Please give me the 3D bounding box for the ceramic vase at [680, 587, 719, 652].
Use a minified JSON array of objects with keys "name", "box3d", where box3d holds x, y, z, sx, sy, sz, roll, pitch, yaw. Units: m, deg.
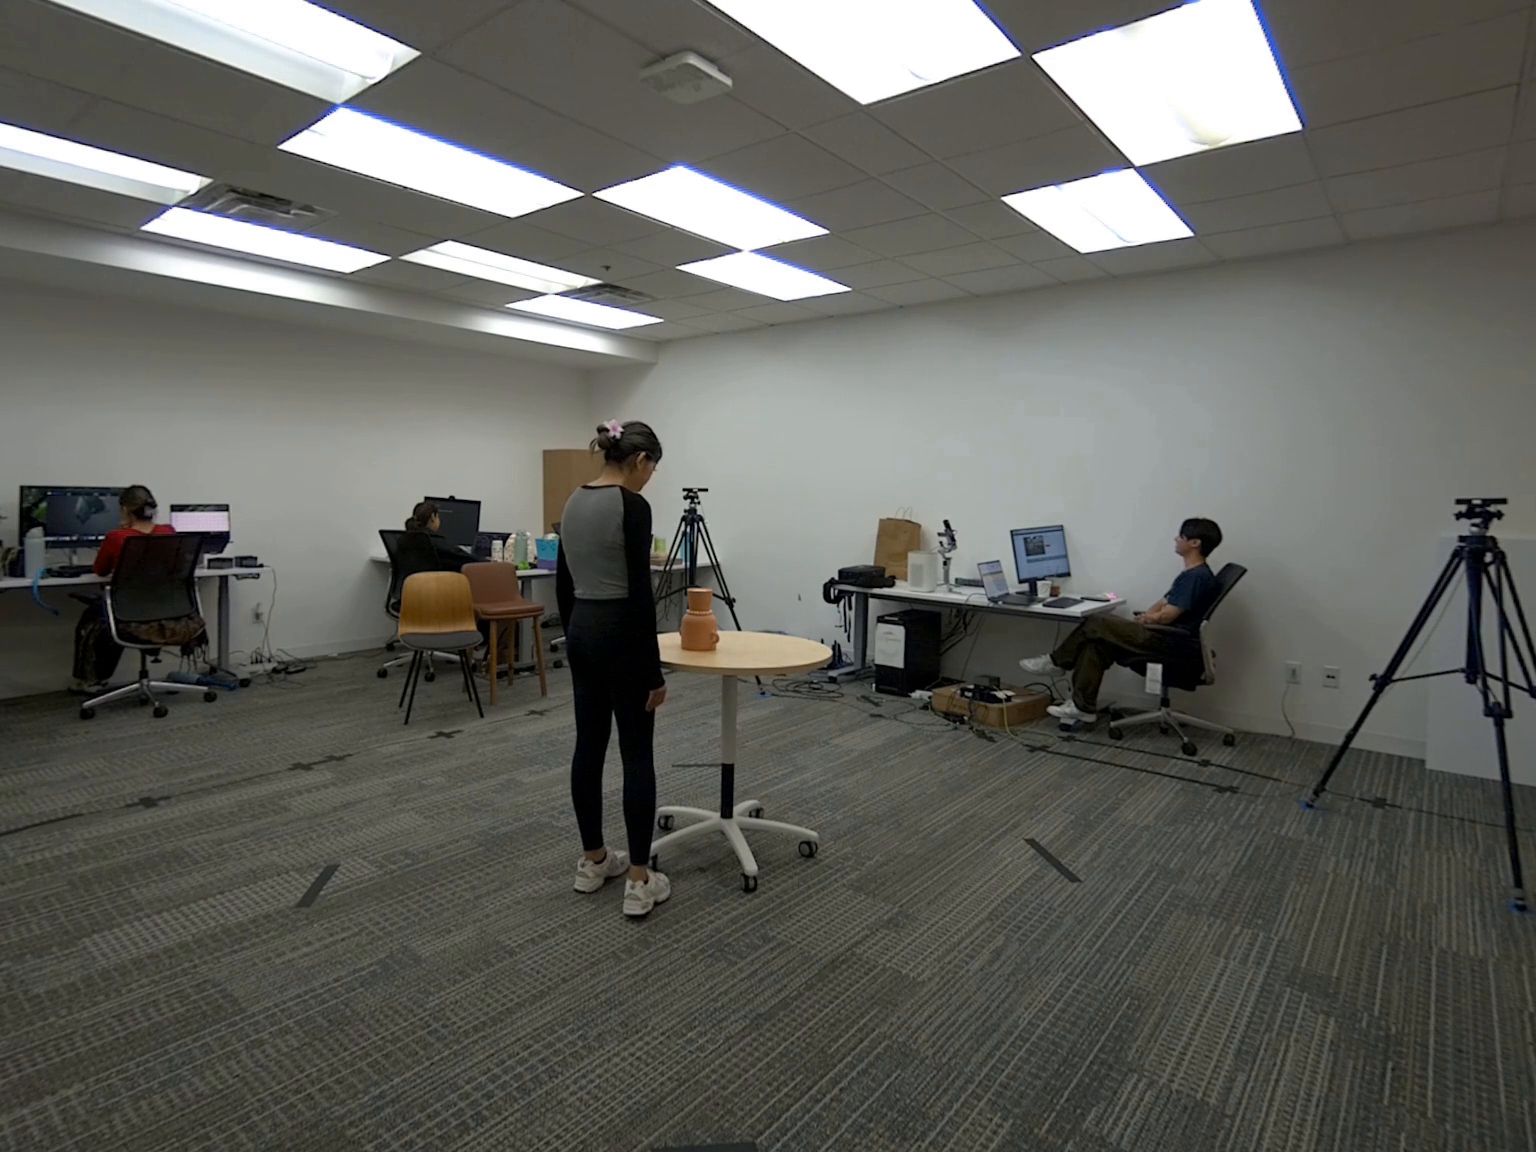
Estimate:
[{"name":"ceramic vase","box3d":[-0.265,0.157,3.179,0.159,0.219,0.135,2,4,-1]}]
